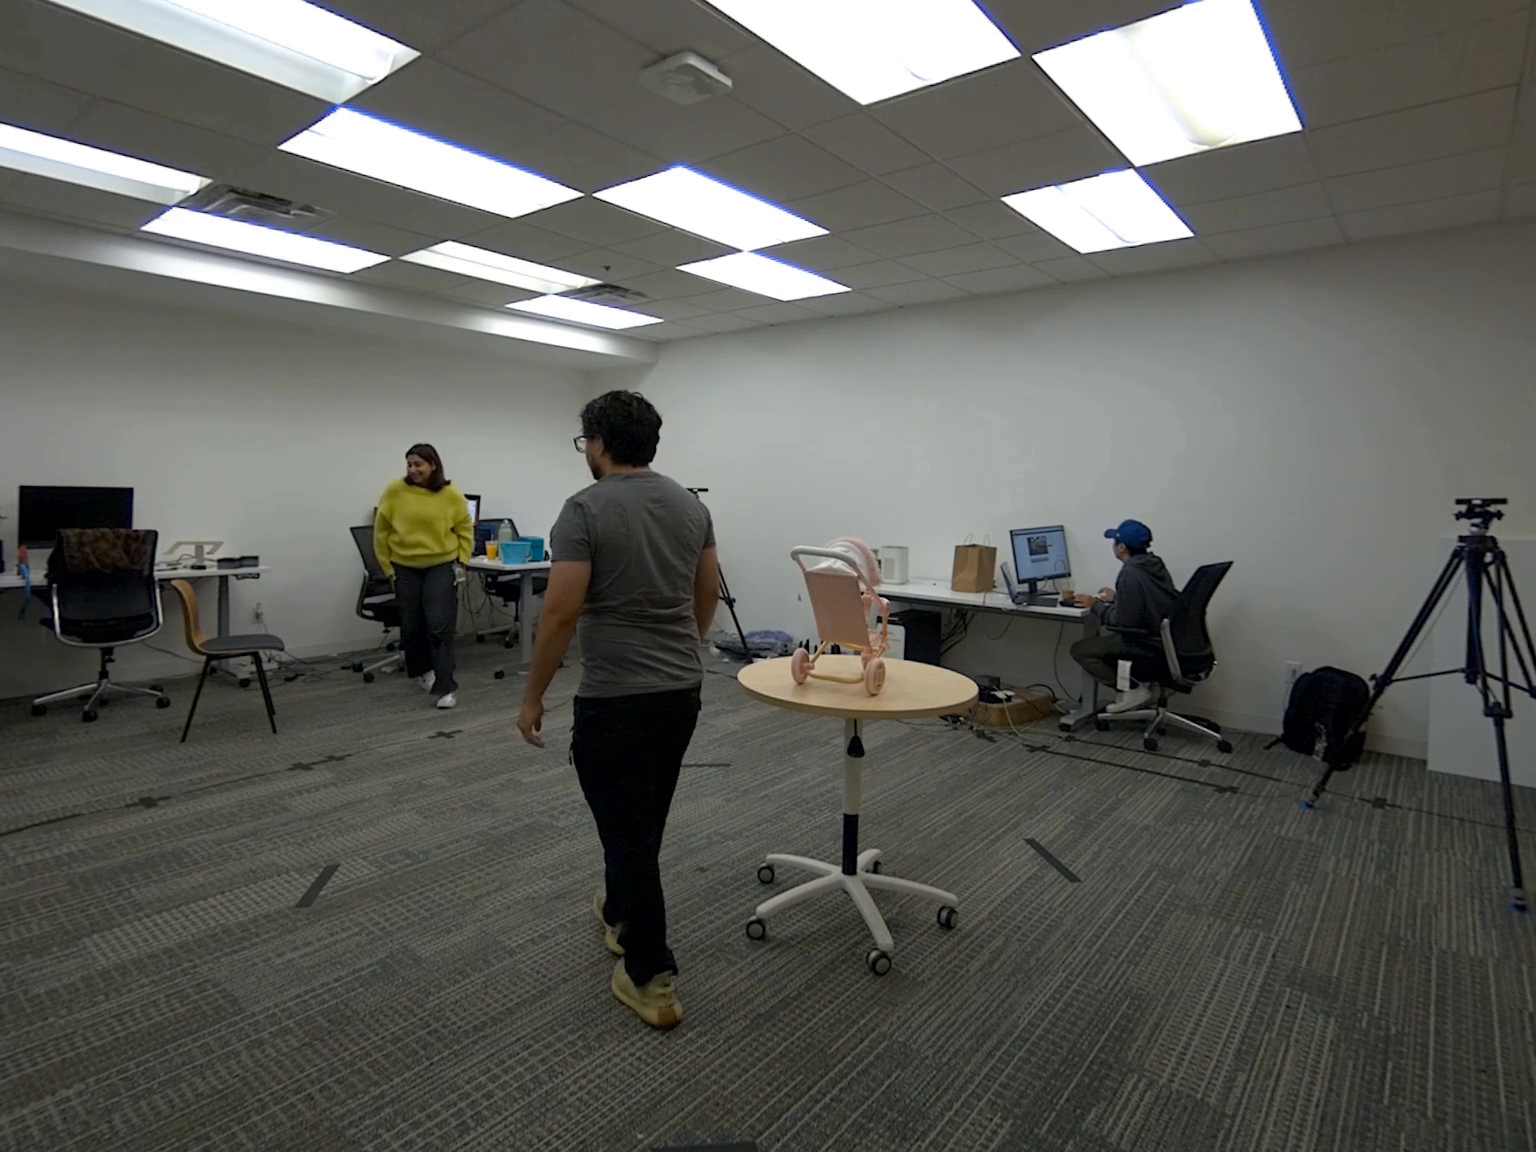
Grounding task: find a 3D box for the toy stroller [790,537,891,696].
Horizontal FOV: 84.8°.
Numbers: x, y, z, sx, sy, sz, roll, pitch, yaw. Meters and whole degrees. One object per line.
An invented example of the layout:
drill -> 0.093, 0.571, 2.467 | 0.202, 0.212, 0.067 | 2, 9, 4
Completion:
toy stroller -> 0.244, 0.117, 2.664 | 0.290, 0.526, 0.336 | 4, 20, 35
